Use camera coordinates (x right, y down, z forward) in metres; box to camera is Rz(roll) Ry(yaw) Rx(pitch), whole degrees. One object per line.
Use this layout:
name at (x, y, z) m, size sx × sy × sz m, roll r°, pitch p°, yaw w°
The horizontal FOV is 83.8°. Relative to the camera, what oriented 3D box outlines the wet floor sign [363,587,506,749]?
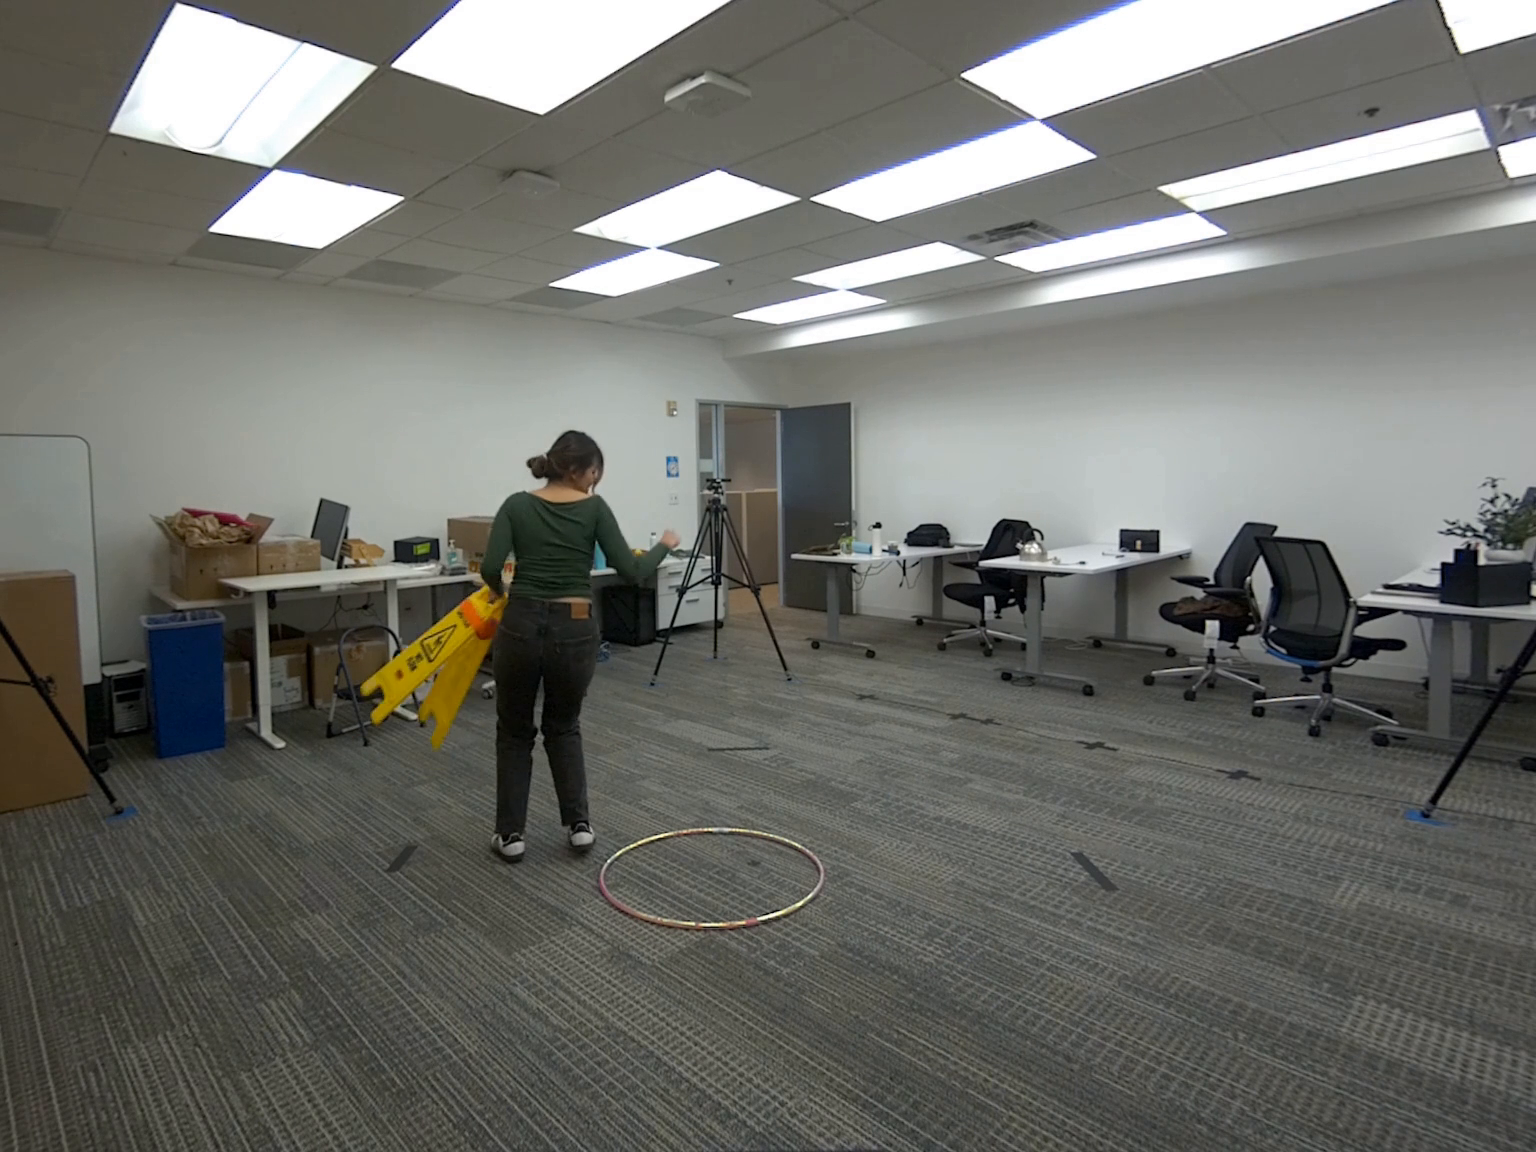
wet floor sign at (-1.194, 0.276, 3.352) m, size 0.278 × 0.646 × 0.293 m, roll 40°, pitch -4°, yaw -41°
